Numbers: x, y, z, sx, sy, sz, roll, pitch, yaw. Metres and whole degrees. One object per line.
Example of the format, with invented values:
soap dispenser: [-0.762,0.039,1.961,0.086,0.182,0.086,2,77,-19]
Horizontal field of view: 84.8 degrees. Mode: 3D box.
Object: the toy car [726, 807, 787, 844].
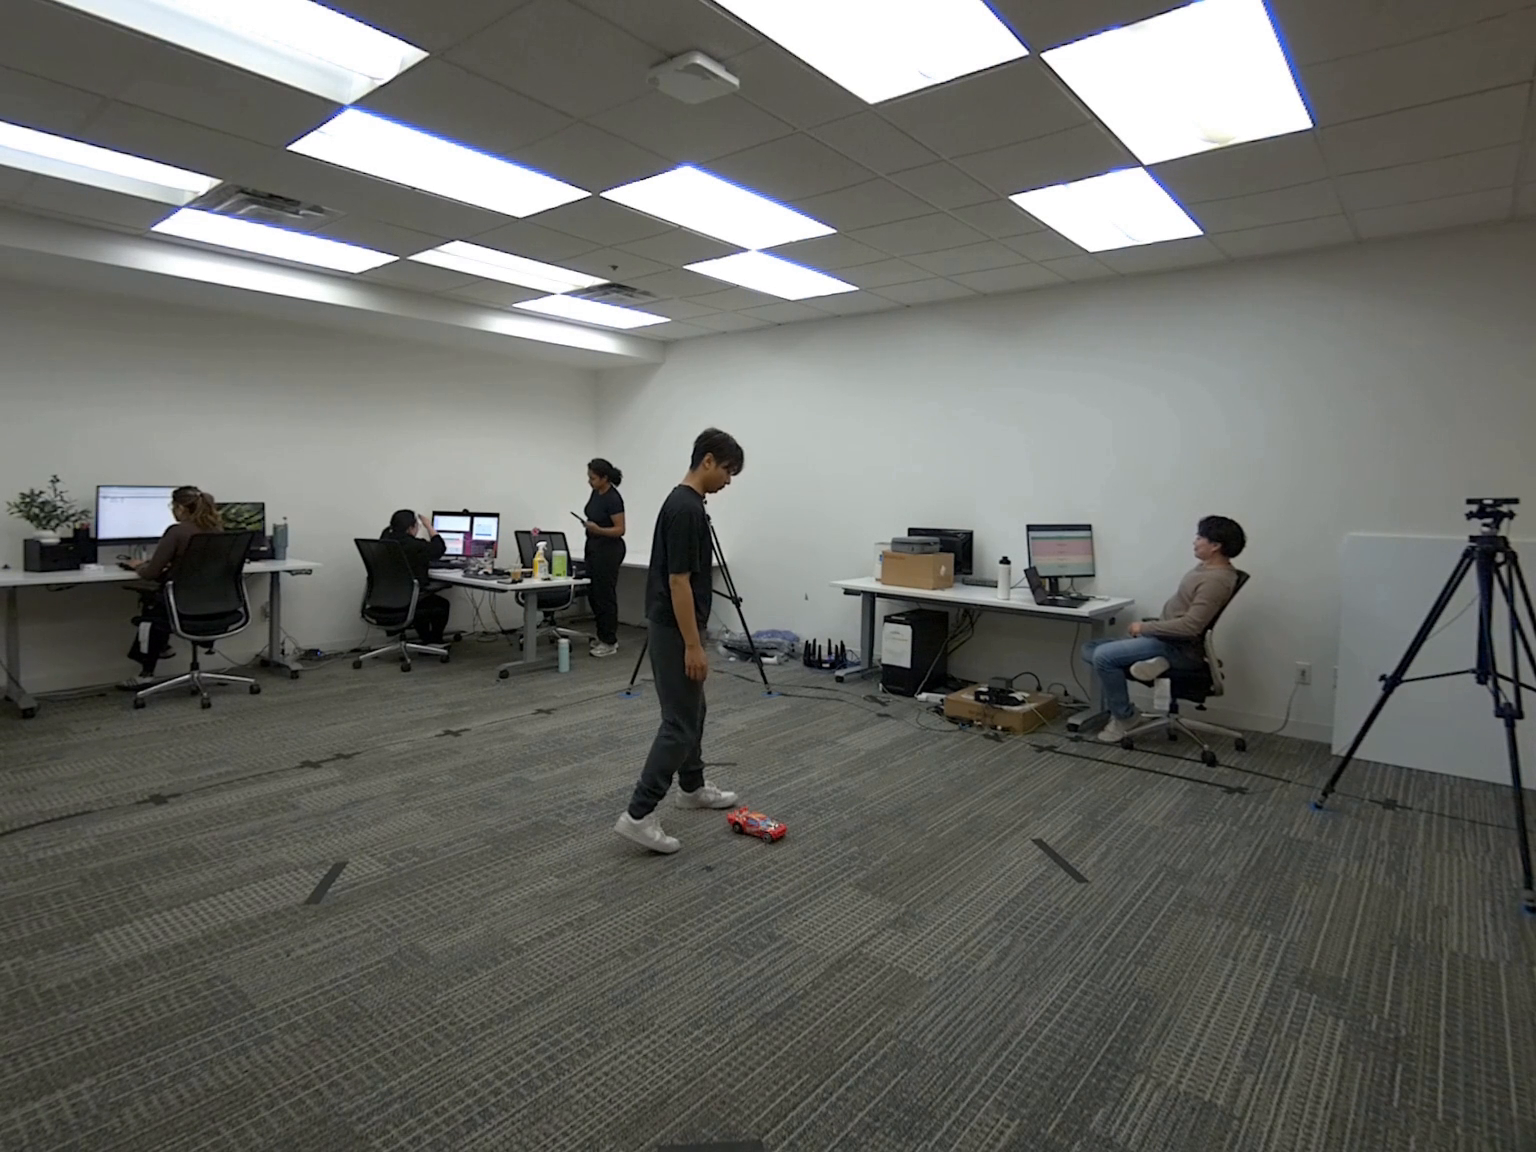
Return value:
toy car: [-0.060,1.005,3.443,0.264,0.082,0.126,17,13,35]
